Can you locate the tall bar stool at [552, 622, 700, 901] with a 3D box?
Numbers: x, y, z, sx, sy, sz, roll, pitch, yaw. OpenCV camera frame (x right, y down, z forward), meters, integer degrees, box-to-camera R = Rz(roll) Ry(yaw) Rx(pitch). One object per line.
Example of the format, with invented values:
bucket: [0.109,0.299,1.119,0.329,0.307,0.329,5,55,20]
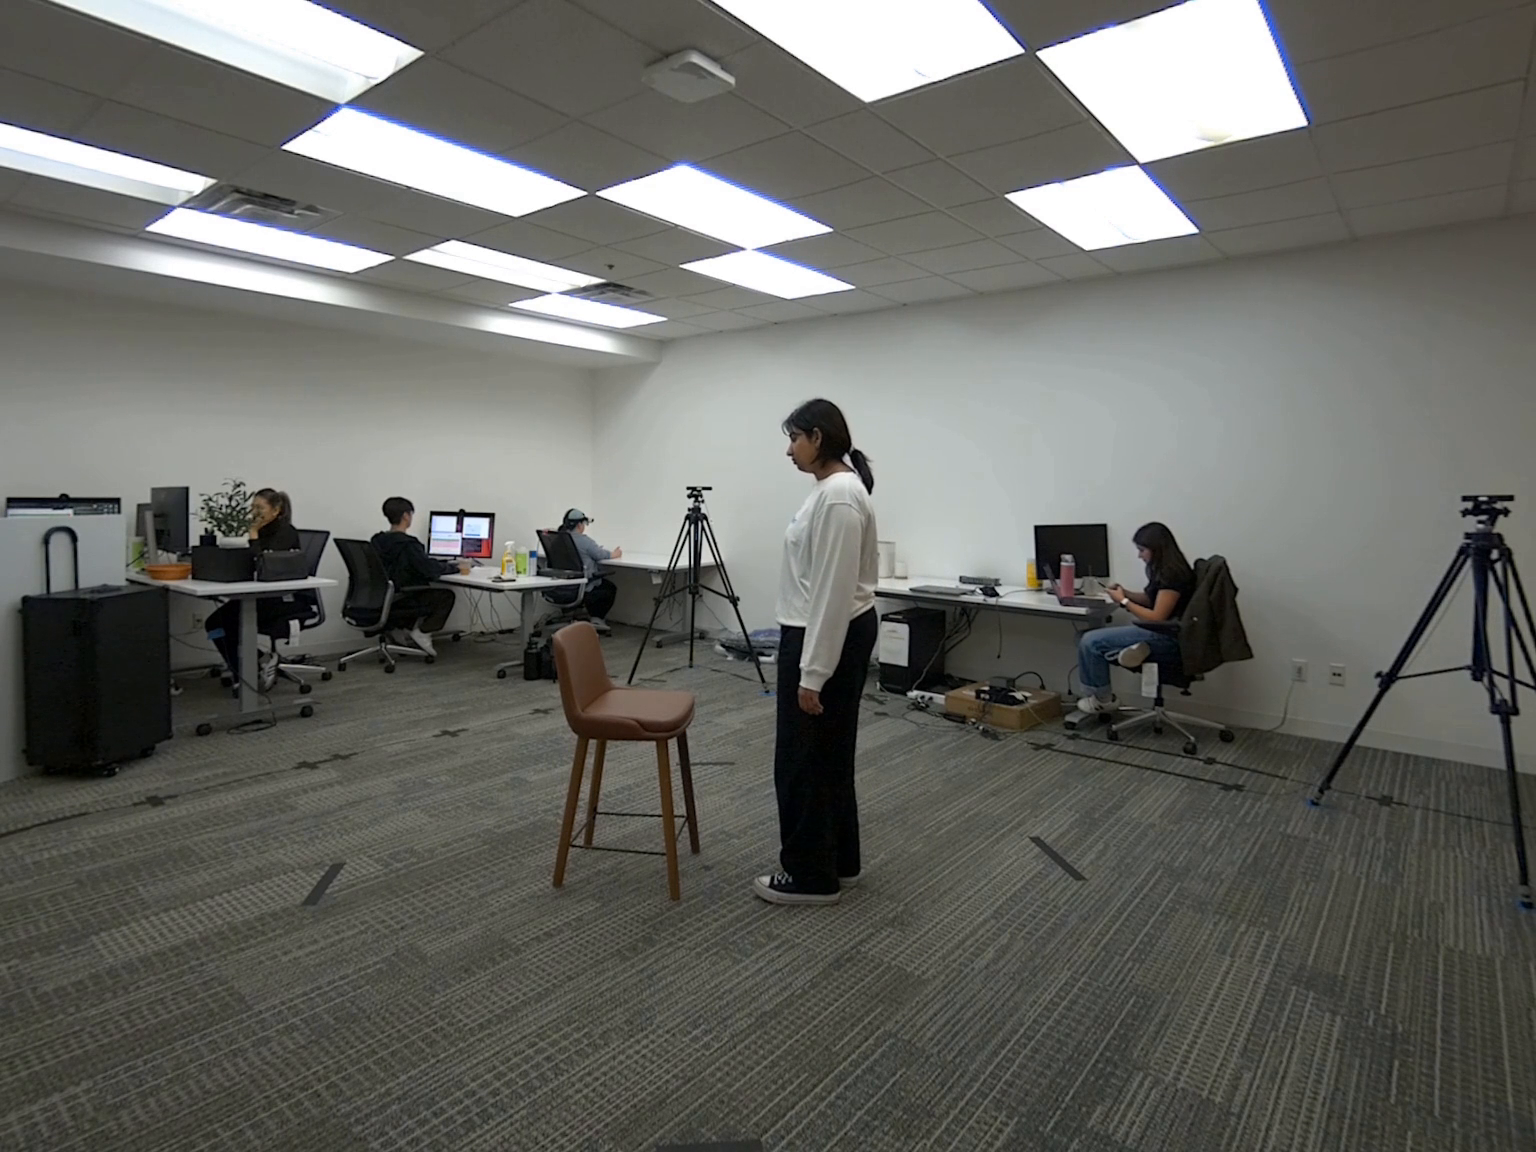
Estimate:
tall bar stool: [-0.505,0.631,3.073,0.472,0.888,0.453,0,3,8]
